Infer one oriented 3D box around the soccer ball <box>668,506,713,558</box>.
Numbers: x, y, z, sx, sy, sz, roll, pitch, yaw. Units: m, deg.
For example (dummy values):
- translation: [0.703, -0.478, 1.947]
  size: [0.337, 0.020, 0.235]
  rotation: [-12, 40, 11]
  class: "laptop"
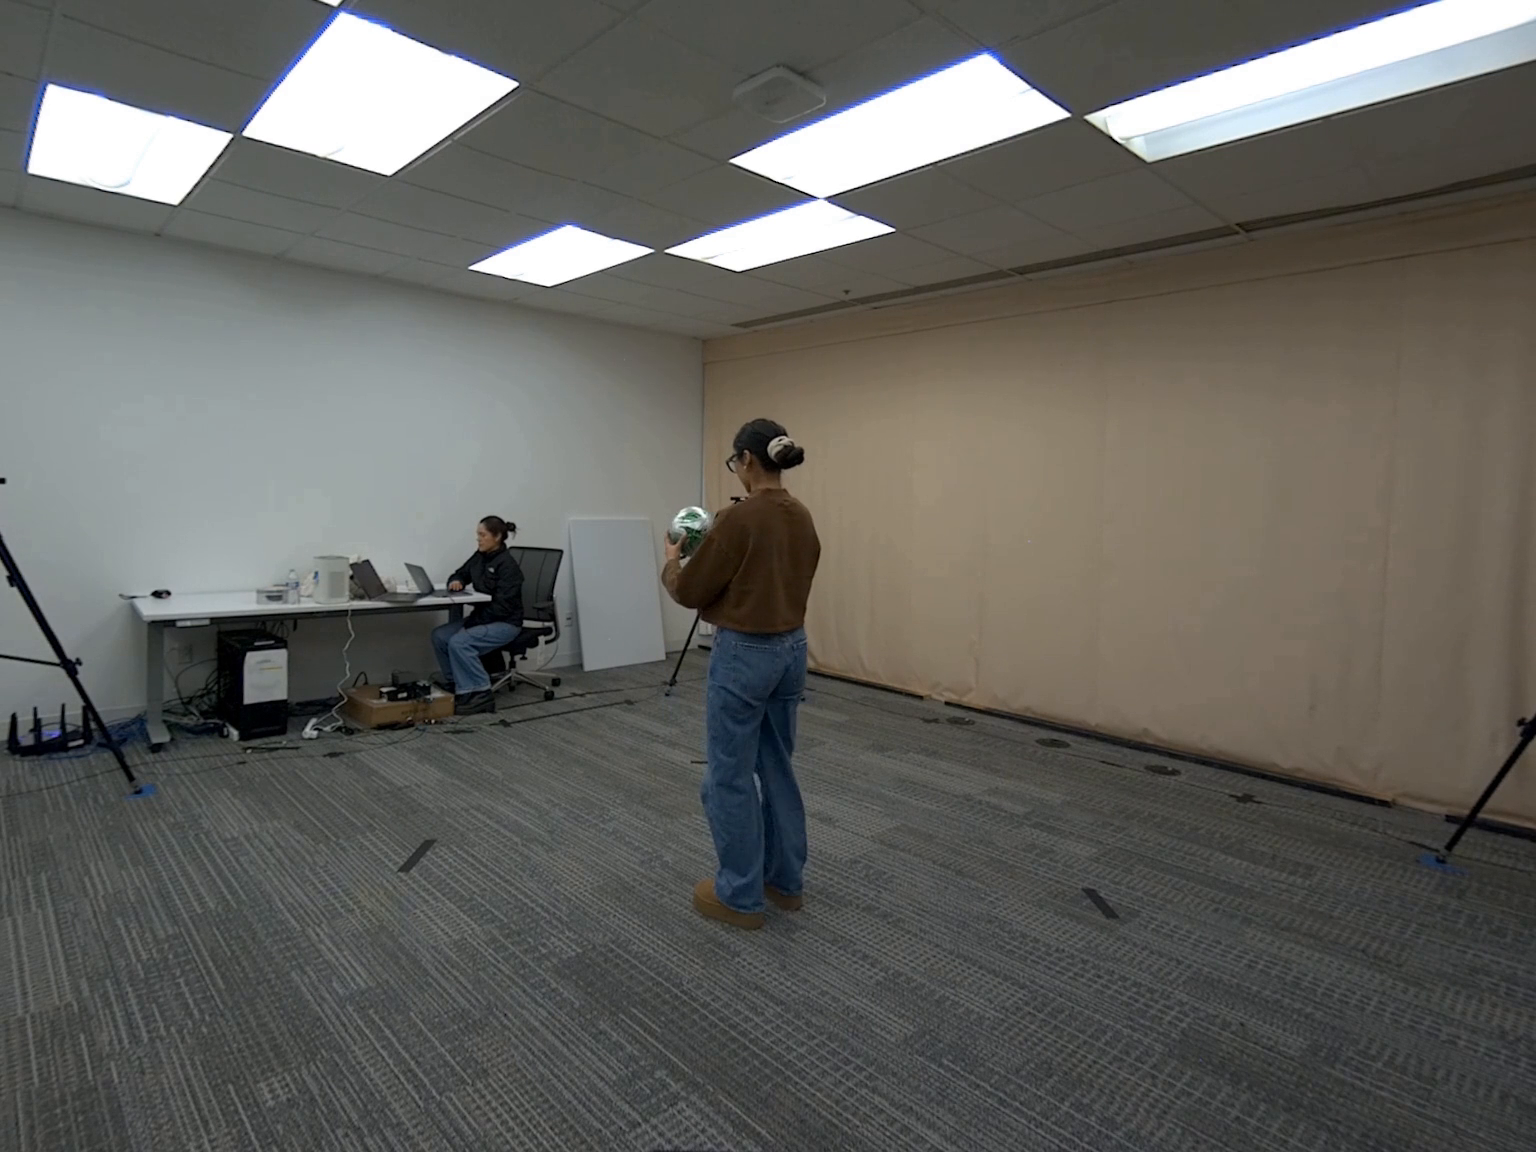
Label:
- translation: [-0.274, -0.151, 3.057]
  size: [0.187, 0.187, 0.188]
  rotation: [1, 4, -1]
  class: "soccer ball"
